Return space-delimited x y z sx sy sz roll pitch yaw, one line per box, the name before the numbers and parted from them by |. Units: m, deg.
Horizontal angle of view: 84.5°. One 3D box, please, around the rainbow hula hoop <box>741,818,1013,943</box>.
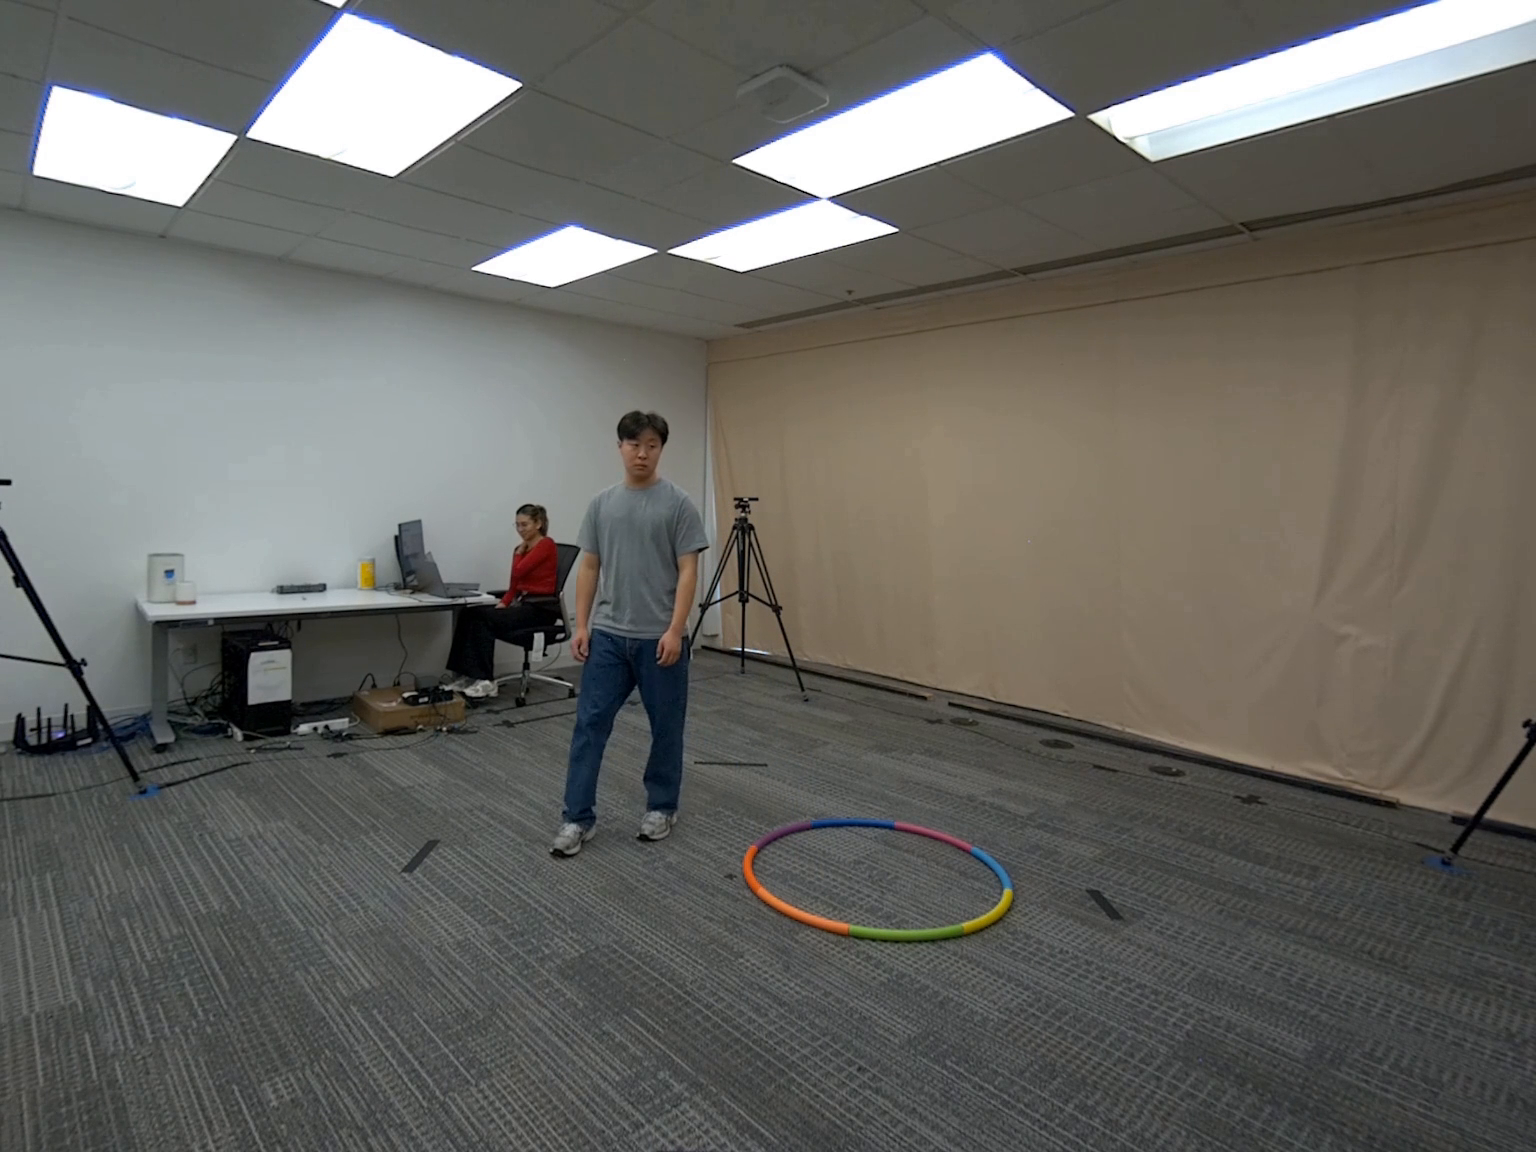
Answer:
rainbow hula hoop | 0.379 1.081 3.153 0.978 0.035 0.982 1 5 -1
